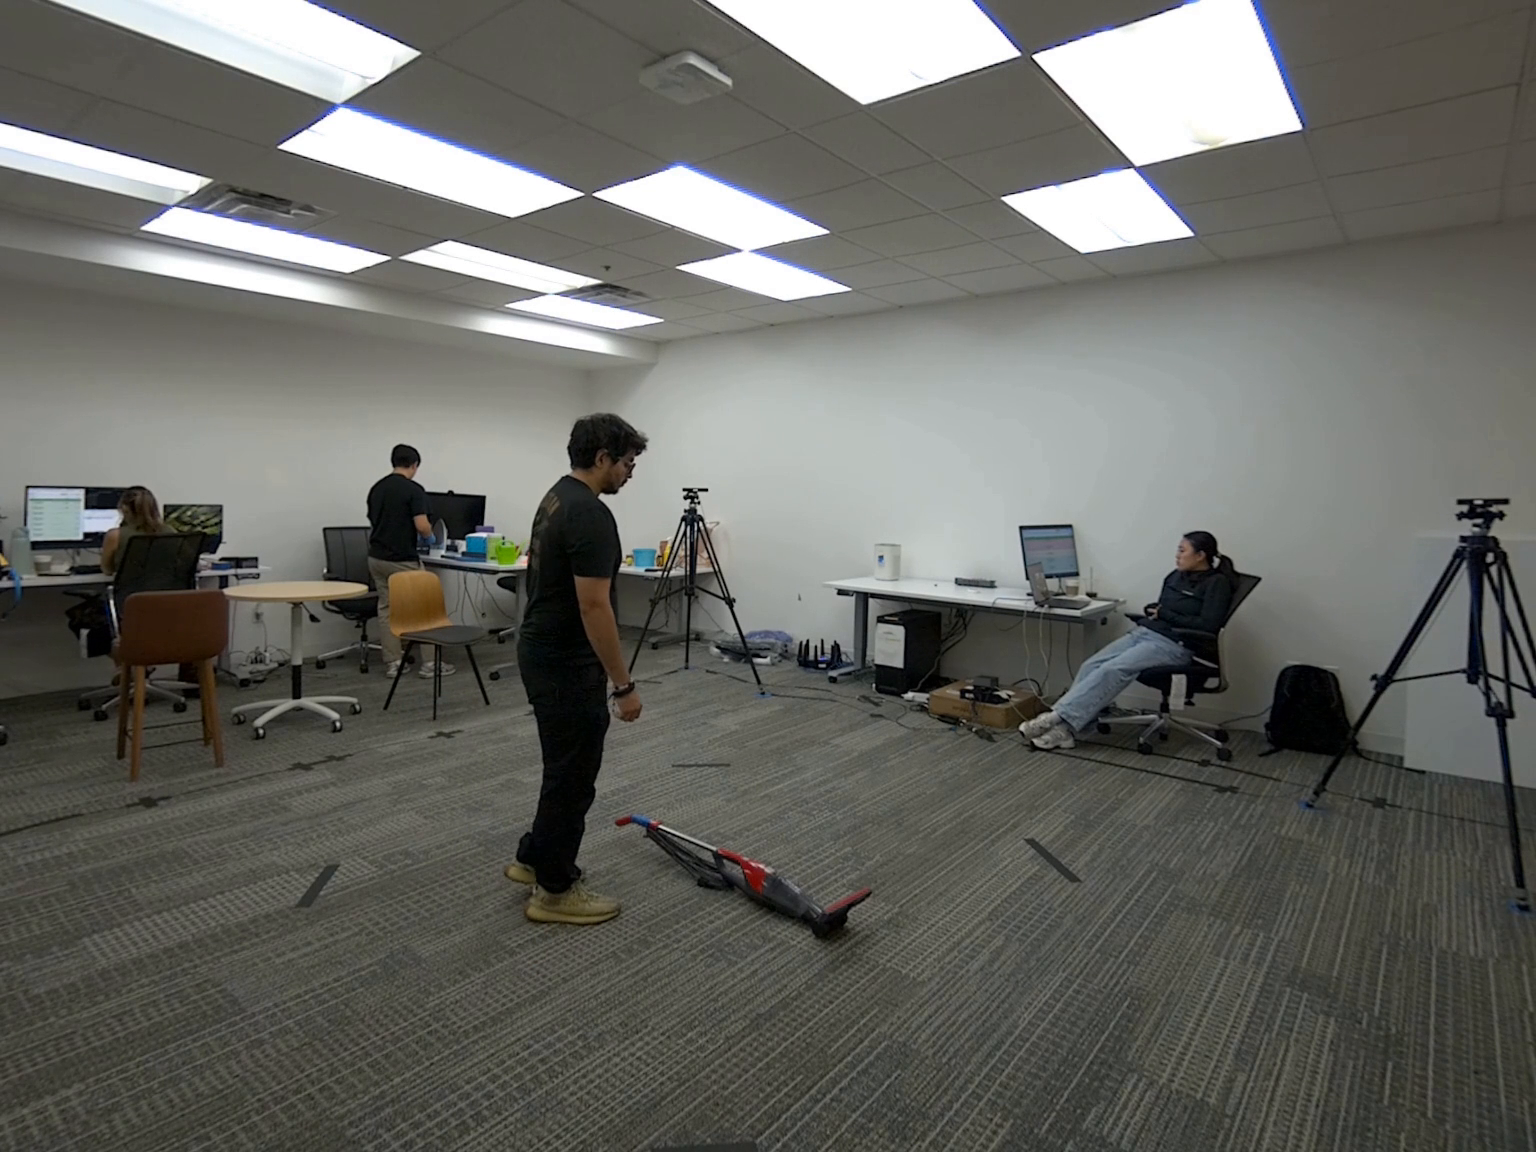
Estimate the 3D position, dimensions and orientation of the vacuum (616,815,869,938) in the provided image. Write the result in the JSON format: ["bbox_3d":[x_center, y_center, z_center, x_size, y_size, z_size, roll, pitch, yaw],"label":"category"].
[{"bbox_3d":[-0.190,1.021,3.007,1.085,0.143,0.245,5,5,41],"label":"vacuum"}]
